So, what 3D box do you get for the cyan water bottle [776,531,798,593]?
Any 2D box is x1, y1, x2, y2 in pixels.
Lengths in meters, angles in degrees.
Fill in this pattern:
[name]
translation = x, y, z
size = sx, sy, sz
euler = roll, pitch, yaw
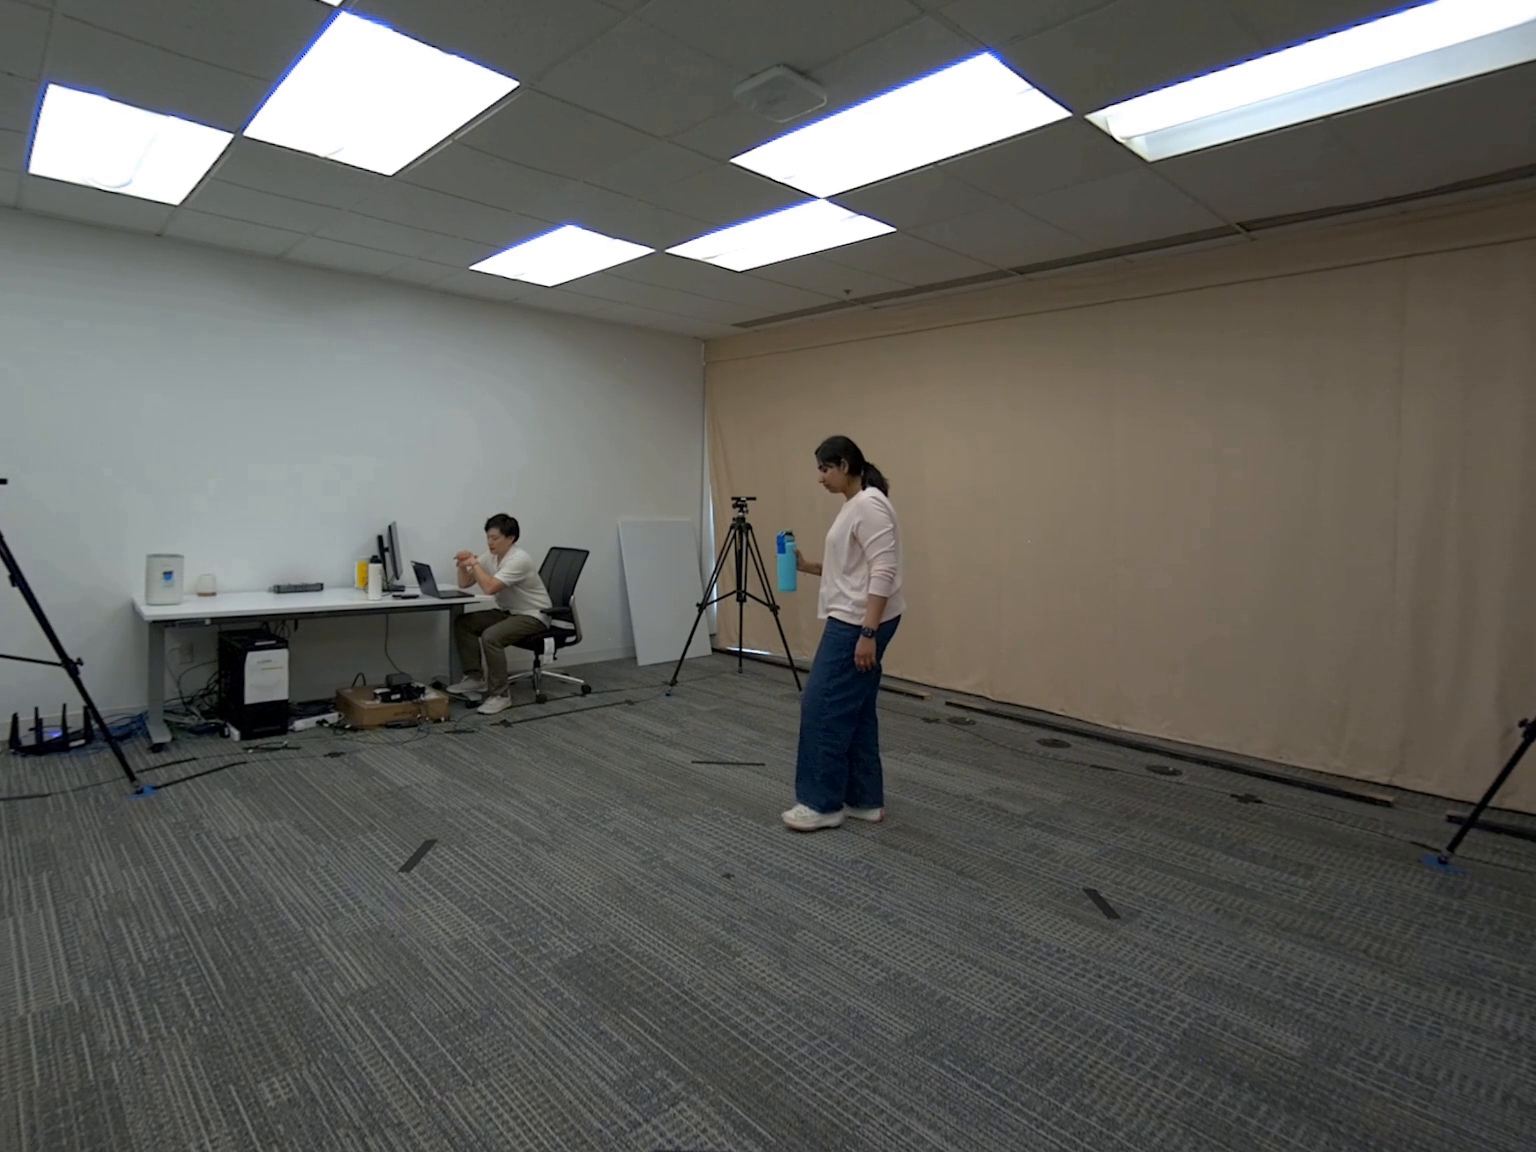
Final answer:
[cyan water bottle]
translation = 0.083, -0.072, 3.833
size = 0.092, 0.282, 0.093
euler = -2, 6, -1
